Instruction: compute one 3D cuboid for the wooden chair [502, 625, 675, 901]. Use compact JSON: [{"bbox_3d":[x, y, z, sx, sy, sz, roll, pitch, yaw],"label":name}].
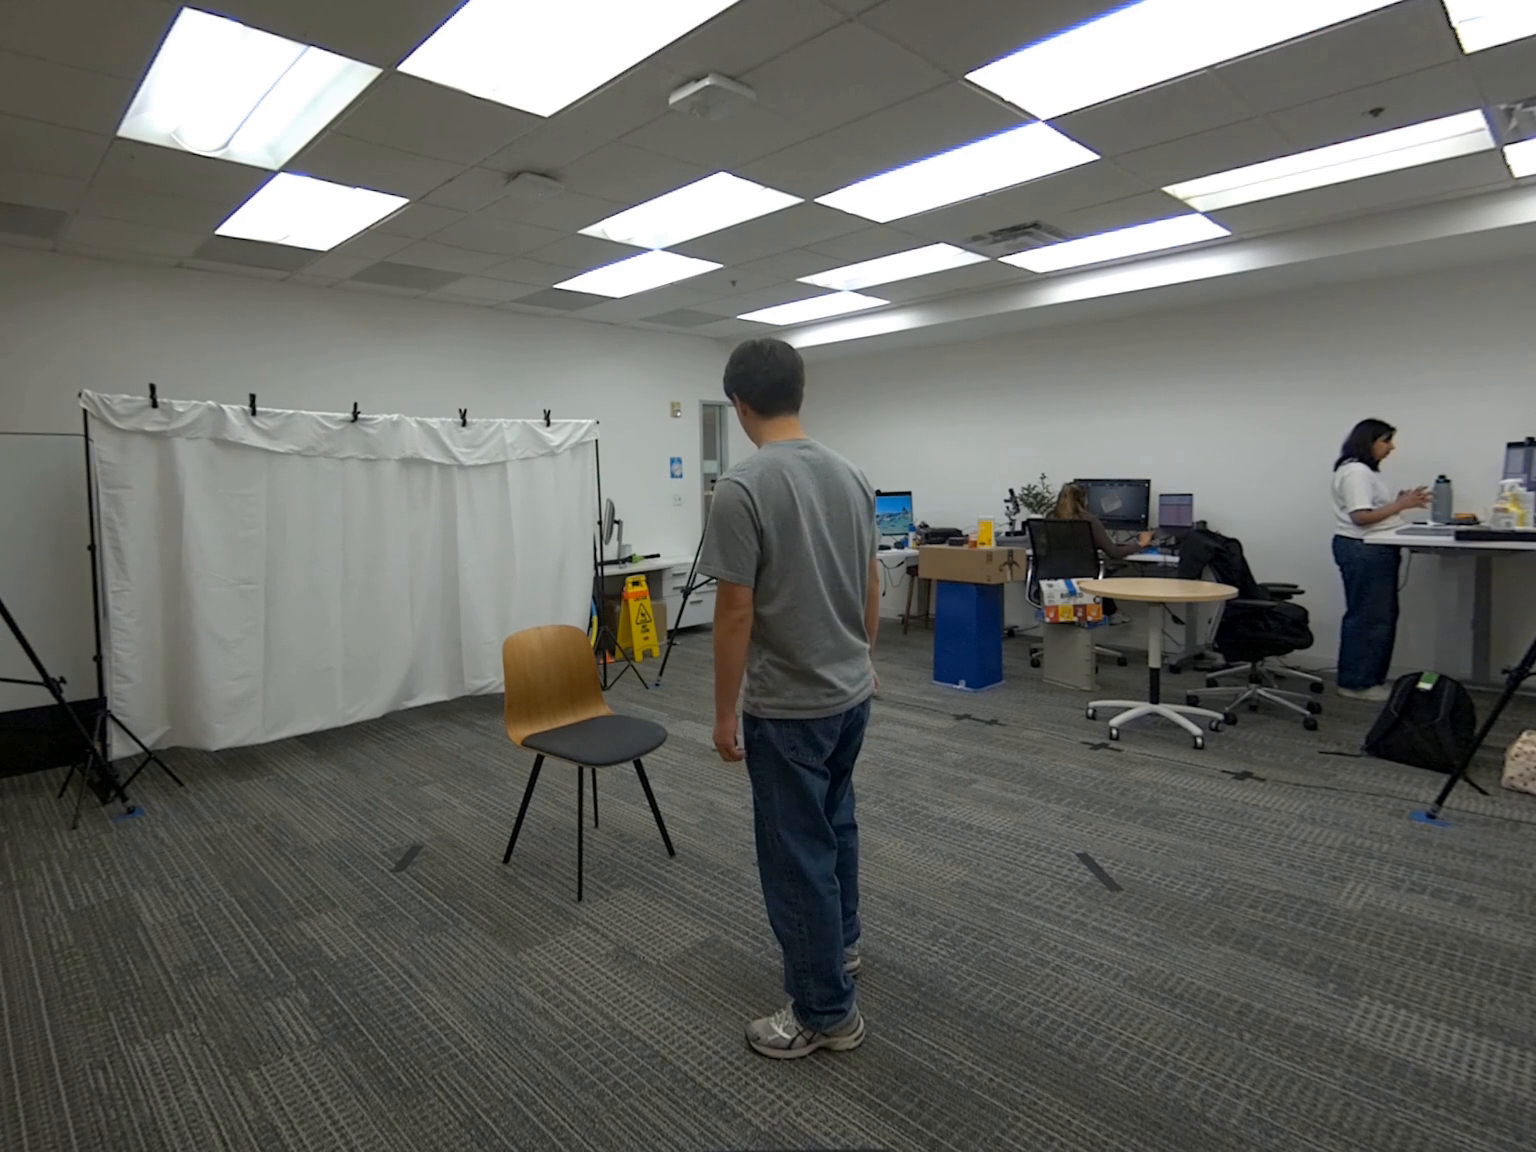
[{"bbox_3d":[-0.664,0.629,3.130,0.537,0.877,0.466,-4,1,41],"label":"wooden chair"}]
